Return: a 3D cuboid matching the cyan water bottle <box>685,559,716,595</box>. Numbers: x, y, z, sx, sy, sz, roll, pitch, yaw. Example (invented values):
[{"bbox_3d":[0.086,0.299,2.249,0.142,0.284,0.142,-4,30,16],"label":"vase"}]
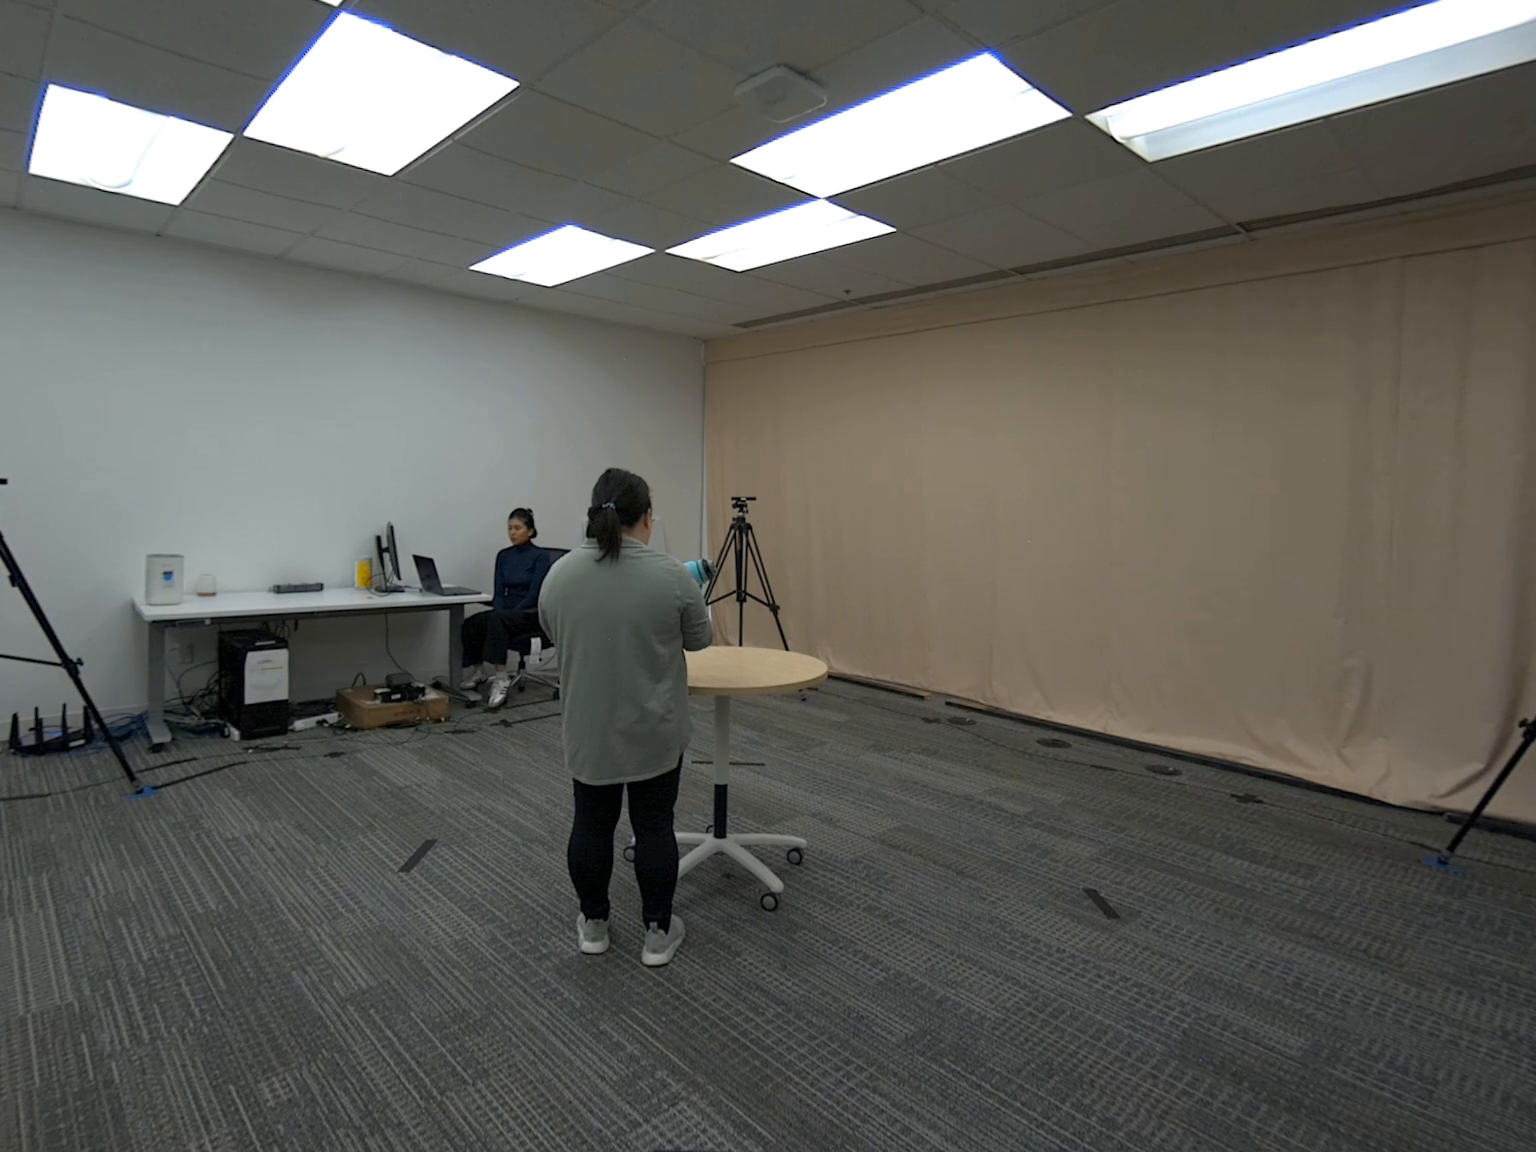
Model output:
[{"bbox_3d":[-0.332,0.025,2.842,0.283,0.092,0.093,-20,5,-1],"label":"cyan water bottle"}]
